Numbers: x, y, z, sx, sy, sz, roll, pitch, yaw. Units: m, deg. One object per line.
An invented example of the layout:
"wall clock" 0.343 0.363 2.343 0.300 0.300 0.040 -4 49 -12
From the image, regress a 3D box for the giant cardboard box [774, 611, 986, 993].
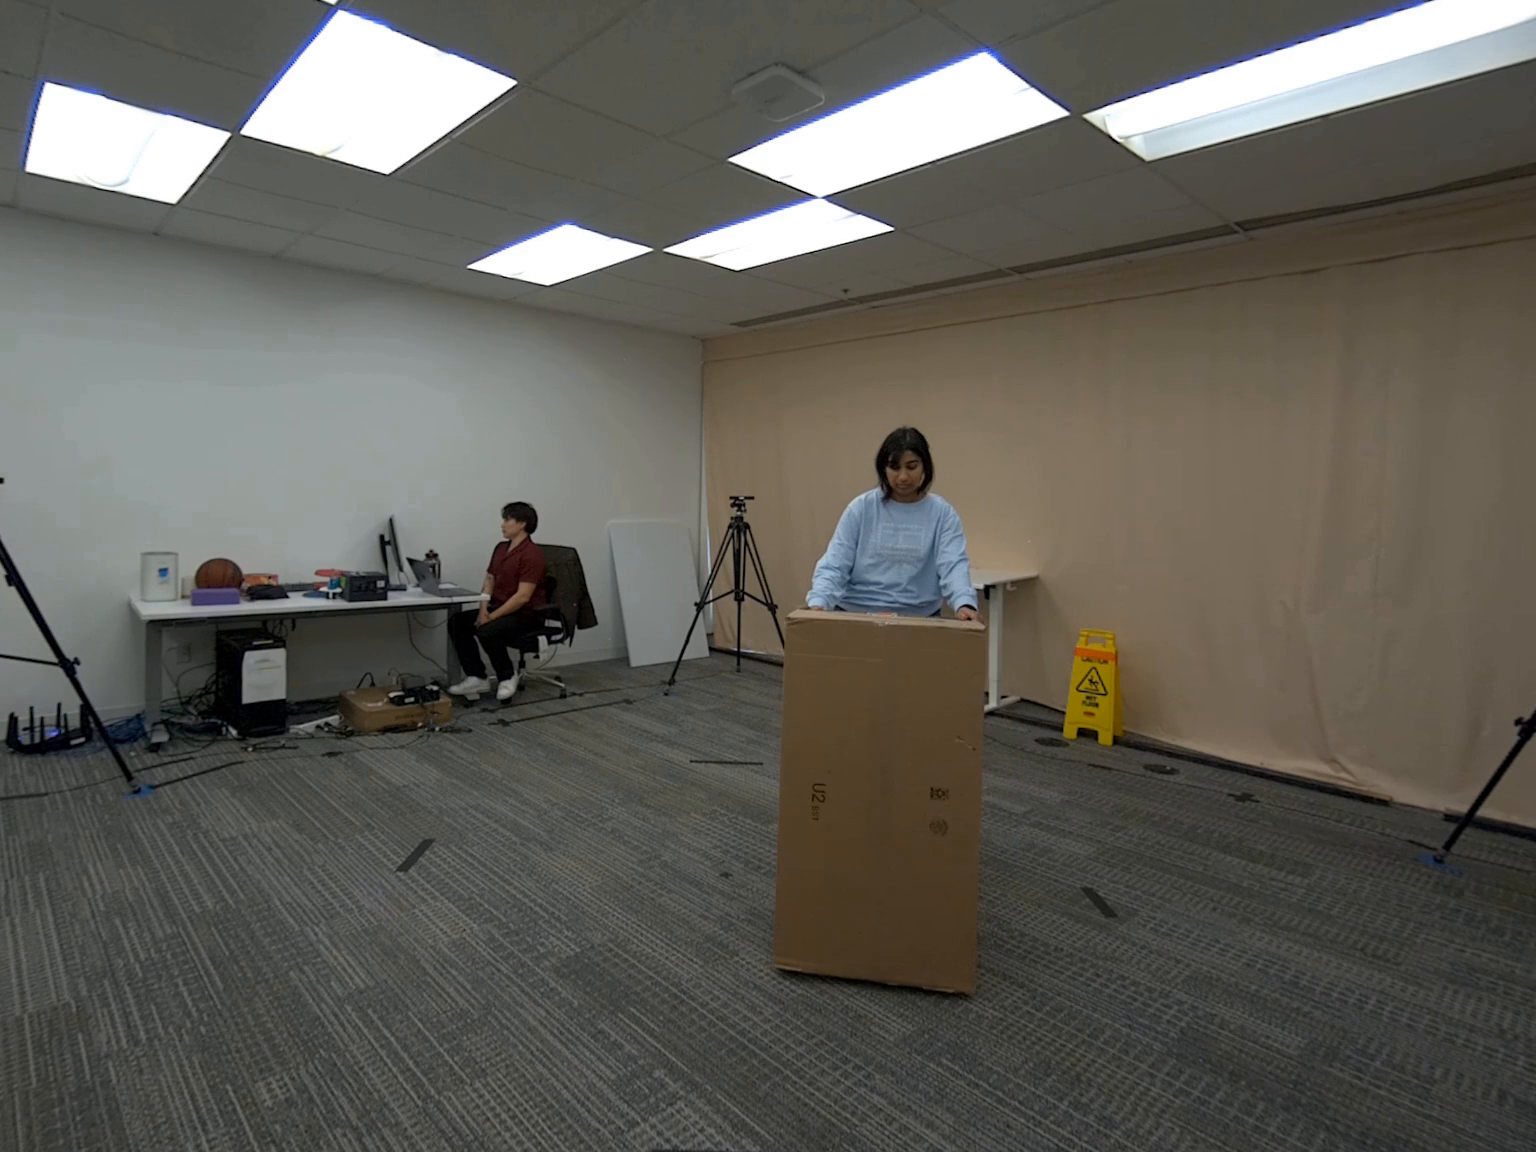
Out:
"giant cardboard box" 0.338 0.639 2.604 0.590 1.028 0.442 2 -1 11
